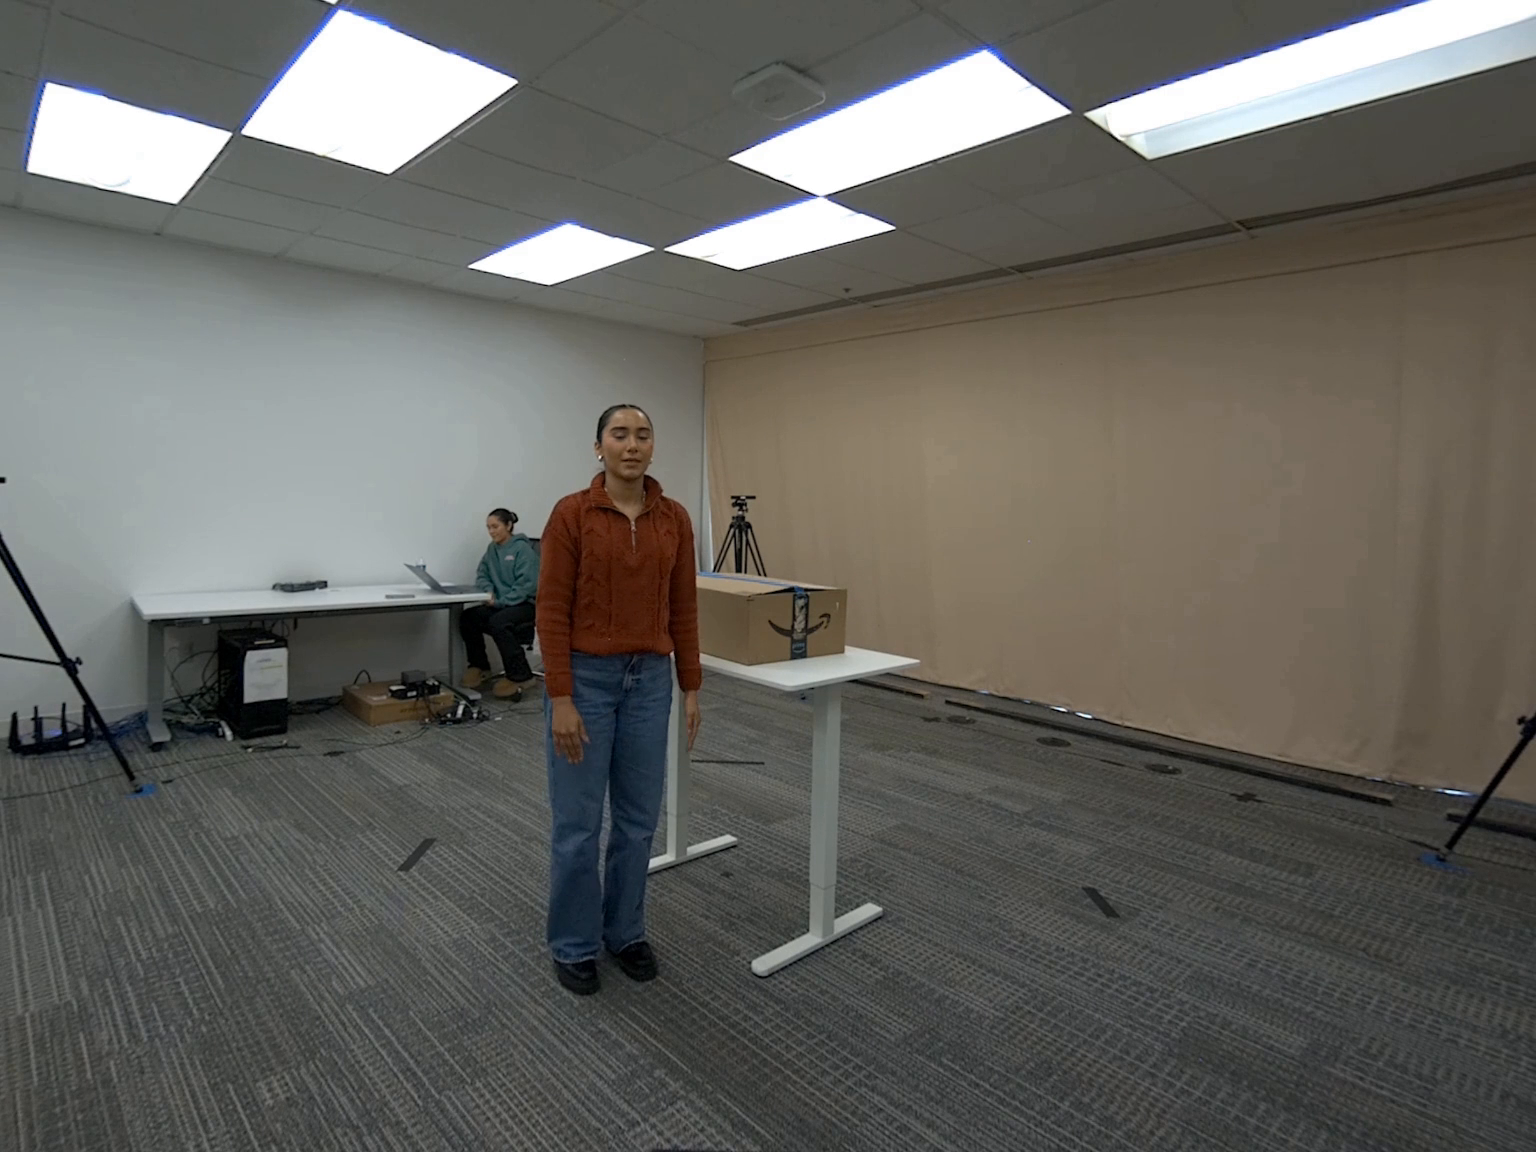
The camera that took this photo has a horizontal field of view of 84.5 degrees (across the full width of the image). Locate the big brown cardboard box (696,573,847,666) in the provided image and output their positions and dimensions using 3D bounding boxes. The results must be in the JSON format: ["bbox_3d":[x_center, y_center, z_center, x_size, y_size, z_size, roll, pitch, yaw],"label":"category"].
[{"bbox_3d":[-0.080,0.133,2.892,0.408,0.232,0.604,-3,6,-38],"label":"big brown cardboard box"}]
